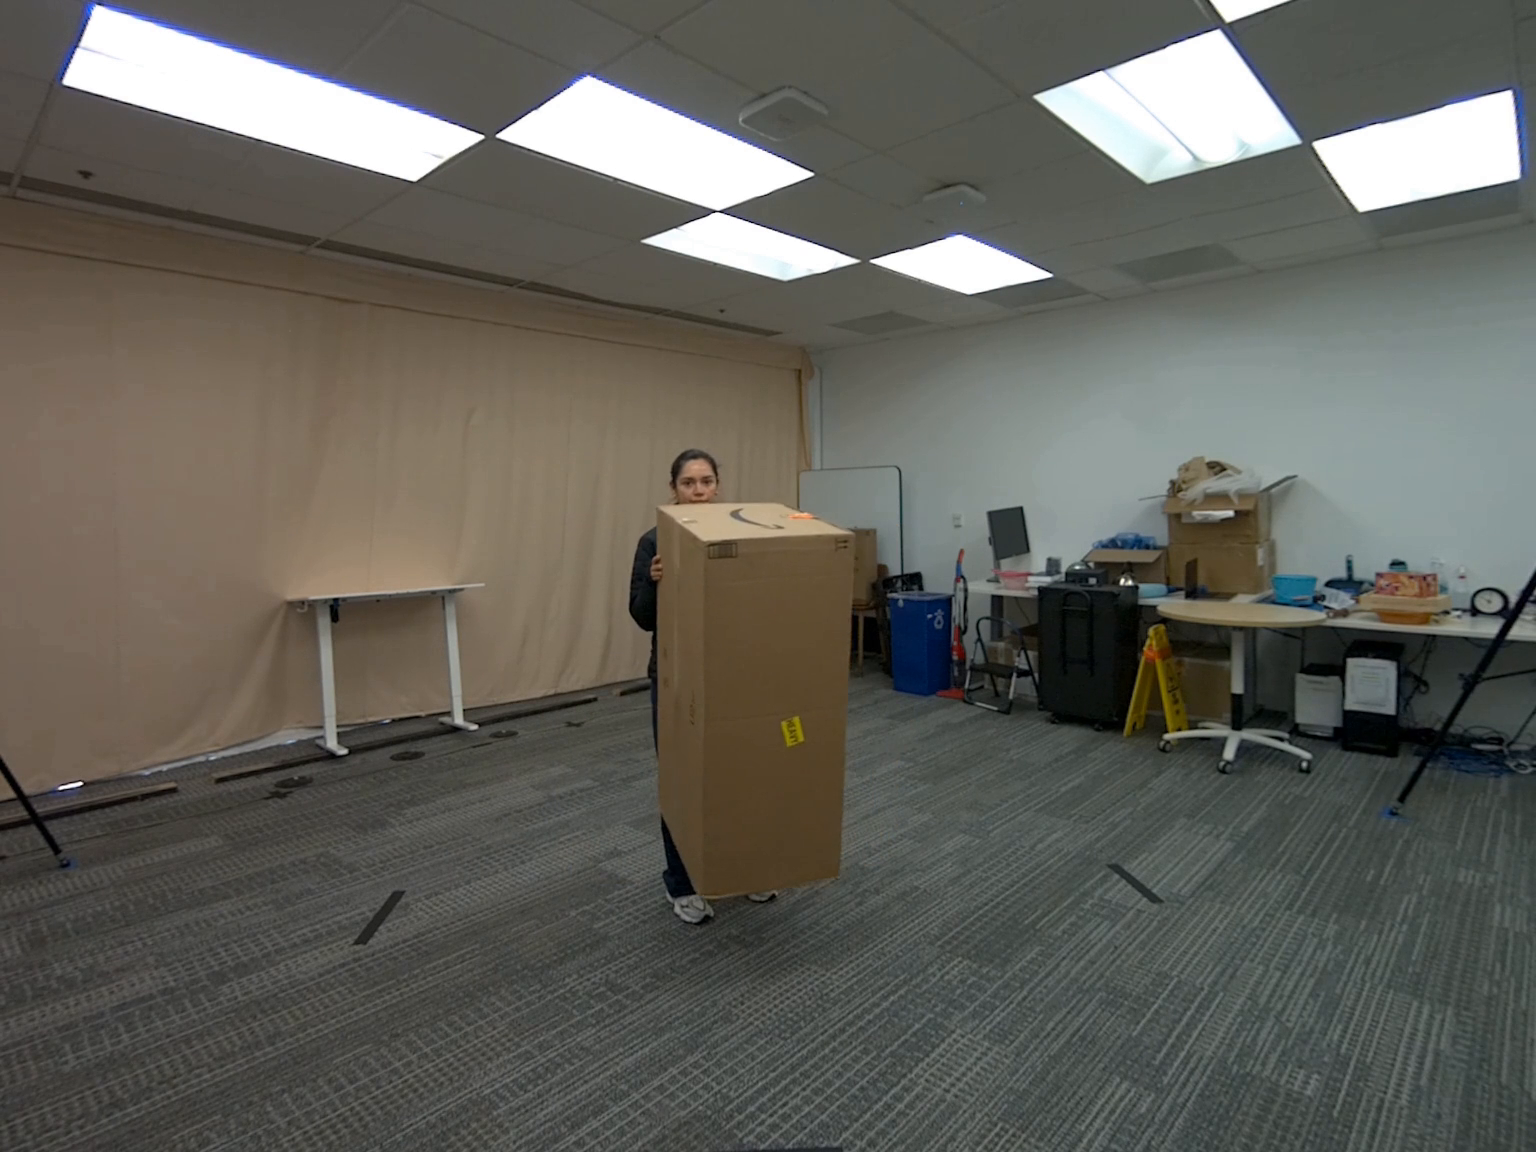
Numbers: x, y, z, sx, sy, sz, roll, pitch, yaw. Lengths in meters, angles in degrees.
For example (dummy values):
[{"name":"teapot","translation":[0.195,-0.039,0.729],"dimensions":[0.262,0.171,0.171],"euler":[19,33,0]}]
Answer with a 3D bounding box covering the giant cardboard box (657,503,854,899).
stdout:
[{"name":"giant cardboard box","translation":[-0.047,0.332,2.554],"dimensions":[0.419,1.018,0.592],"euler":[-3,12,-18]}]
